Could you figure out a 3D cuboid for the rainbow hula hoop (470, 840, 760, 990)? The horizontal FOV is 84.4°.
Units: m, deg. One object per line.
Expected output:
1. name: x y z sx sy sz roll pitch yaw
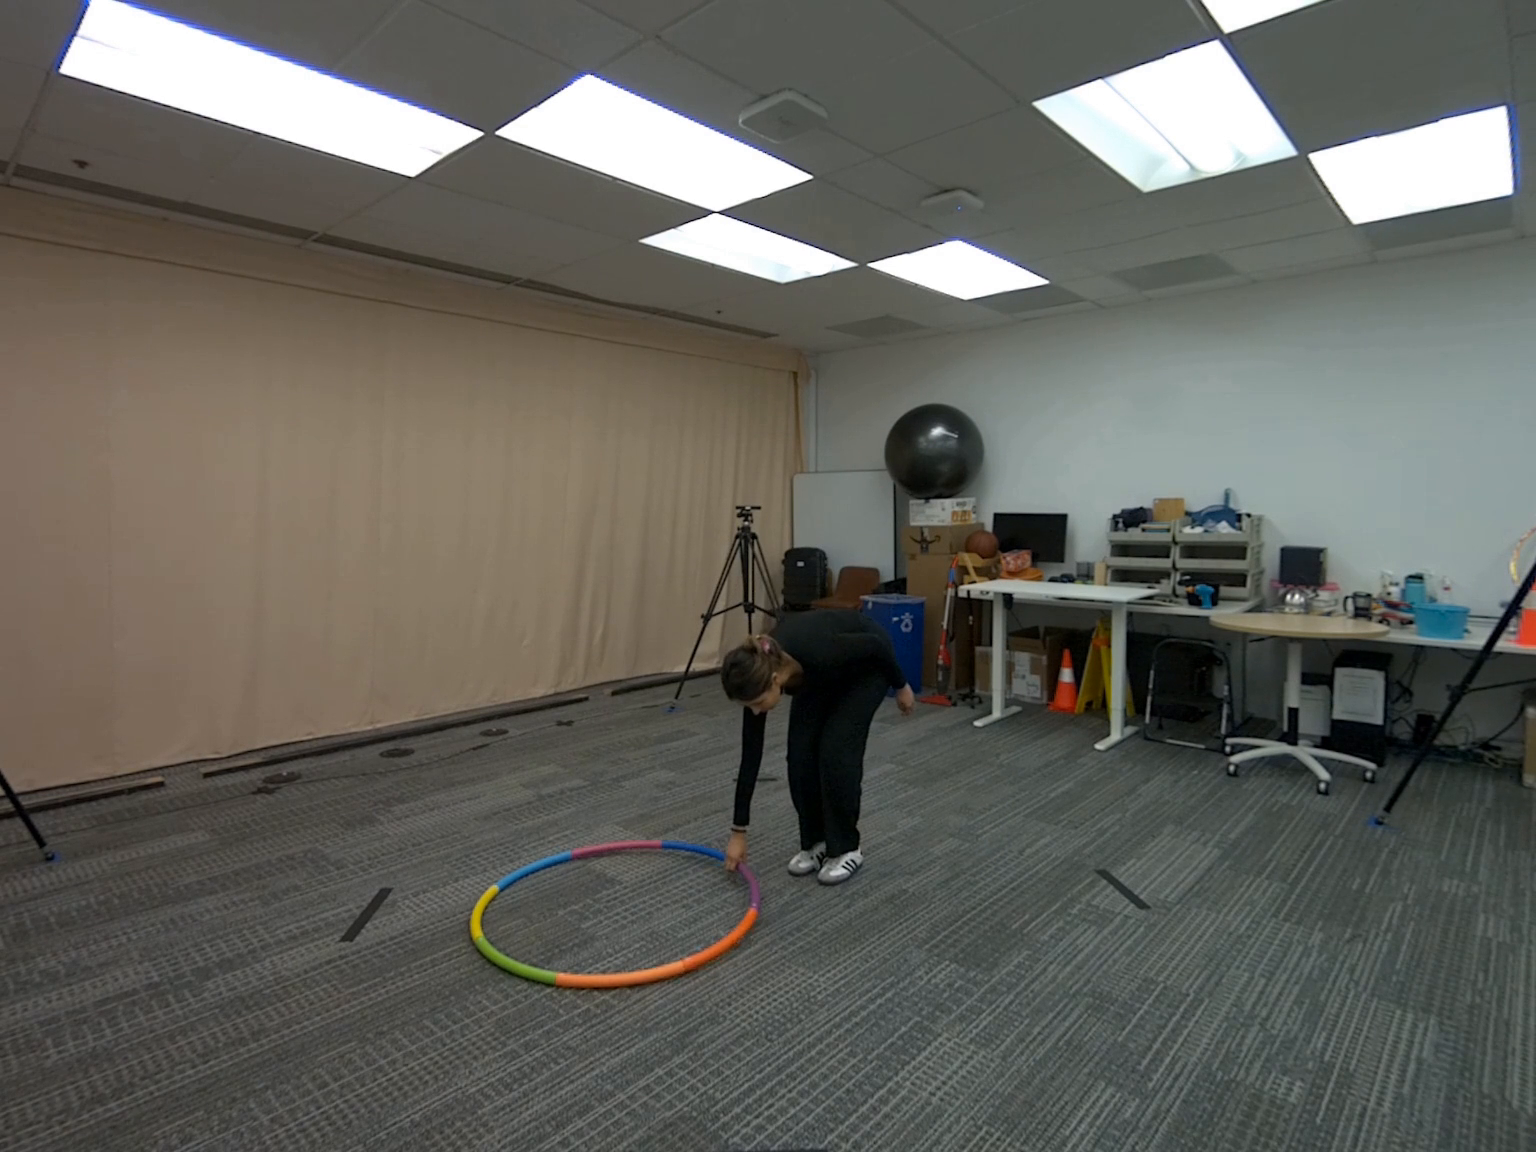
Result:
1. rainbow hula hoop: -0.516 1.105 2.908 0.978 0.035 0.983 -3 6 -2
